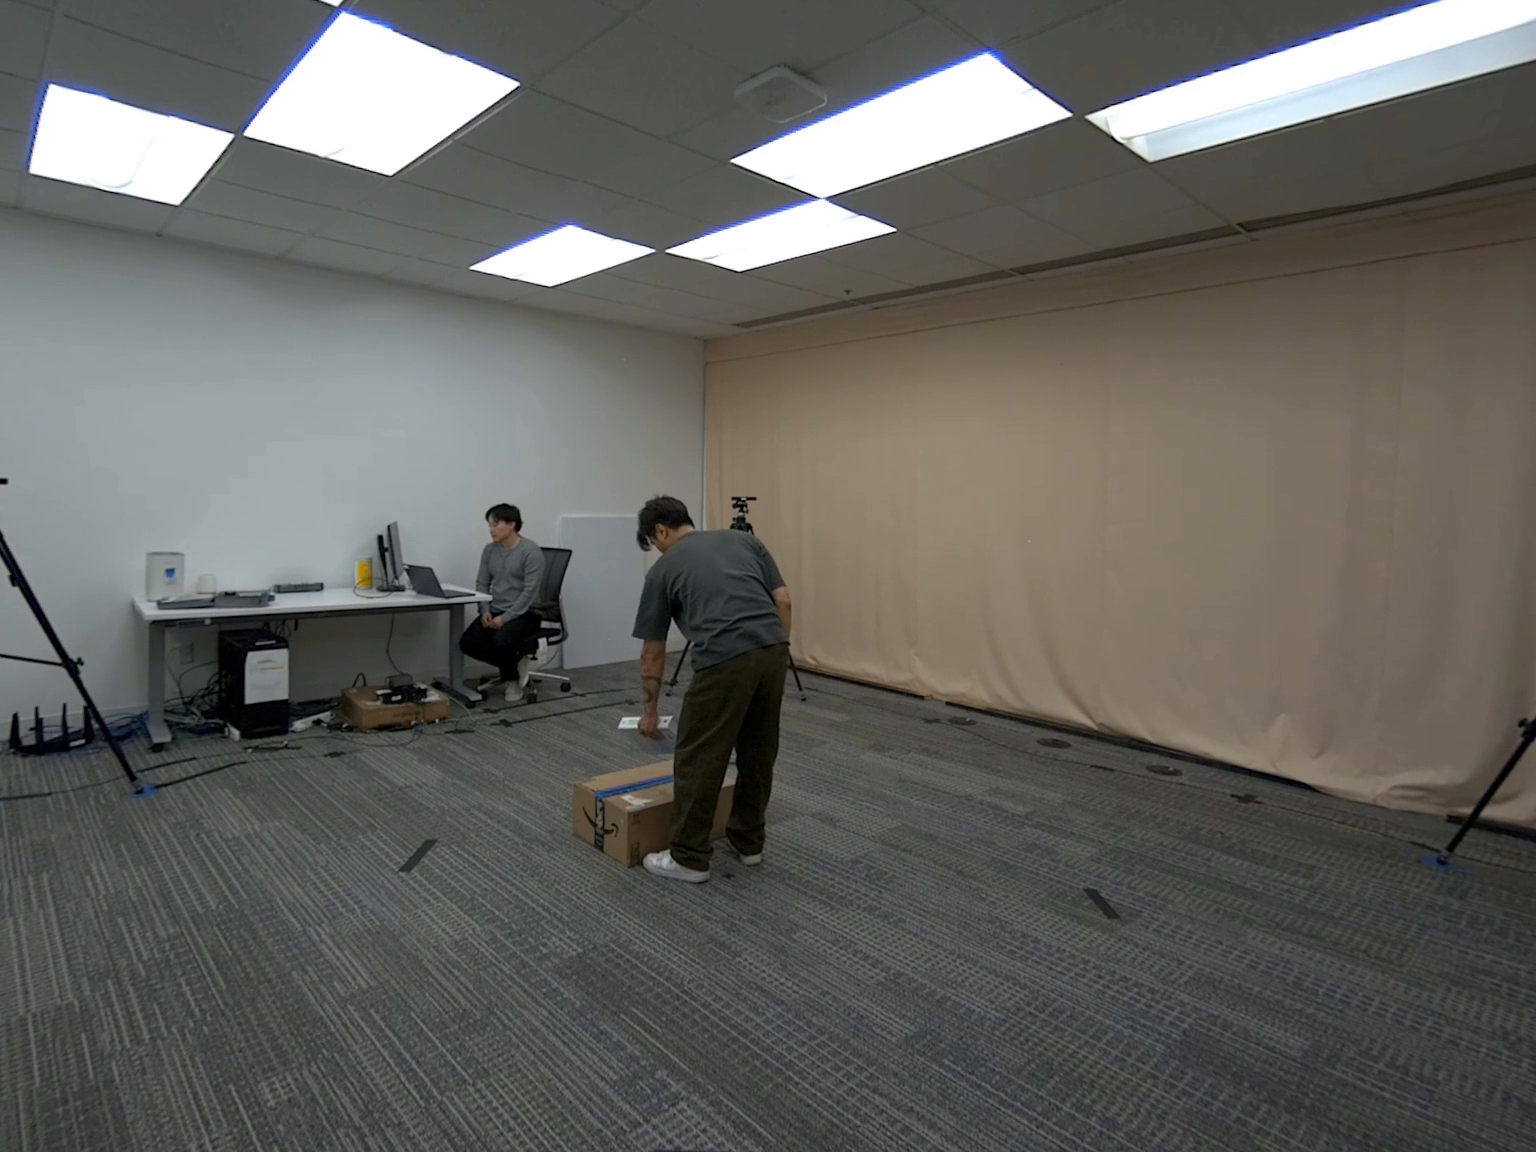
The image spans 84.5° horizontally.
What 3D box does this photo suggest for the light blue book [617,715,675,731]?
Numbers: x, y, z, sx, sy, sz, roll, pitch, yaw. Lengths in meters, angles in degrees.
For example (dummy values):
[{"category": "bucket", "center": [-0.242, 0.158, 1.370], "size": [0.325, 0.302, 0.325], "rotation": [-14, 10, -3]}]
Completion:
[{"category": "light blue book", "center": [-0.453, 0.635, 3.362], "size": [0.266, 0.186, 0.059], "rotation": [-7, 43, 34]}]
